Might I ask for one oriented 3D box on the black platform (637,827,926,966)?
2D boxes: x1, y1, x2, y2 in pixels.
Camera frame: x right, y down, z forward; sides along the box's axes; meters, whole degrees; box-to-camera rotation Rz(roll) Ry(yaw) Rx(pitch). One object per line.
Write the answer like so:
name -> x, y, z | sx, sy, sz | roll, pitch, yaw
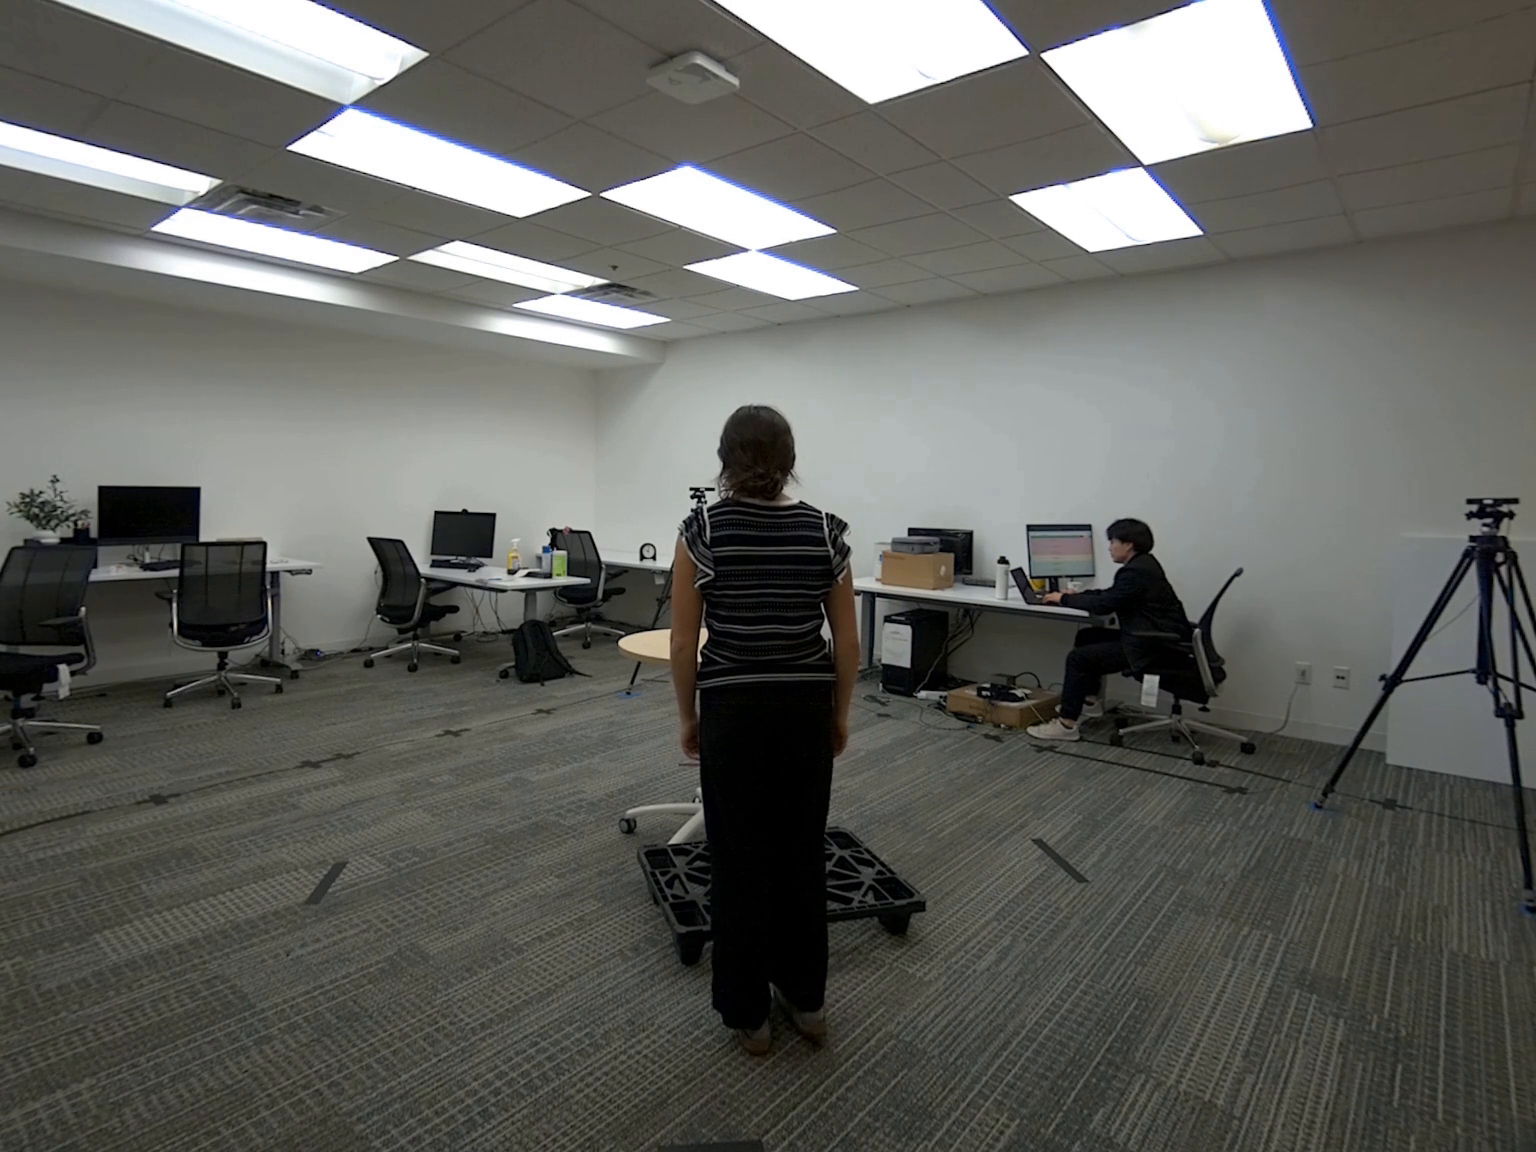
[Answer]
black platform -> 0.001, 1.033, 2.797 | 0.791, 0.143, 0.618 | 0, 5, -18
